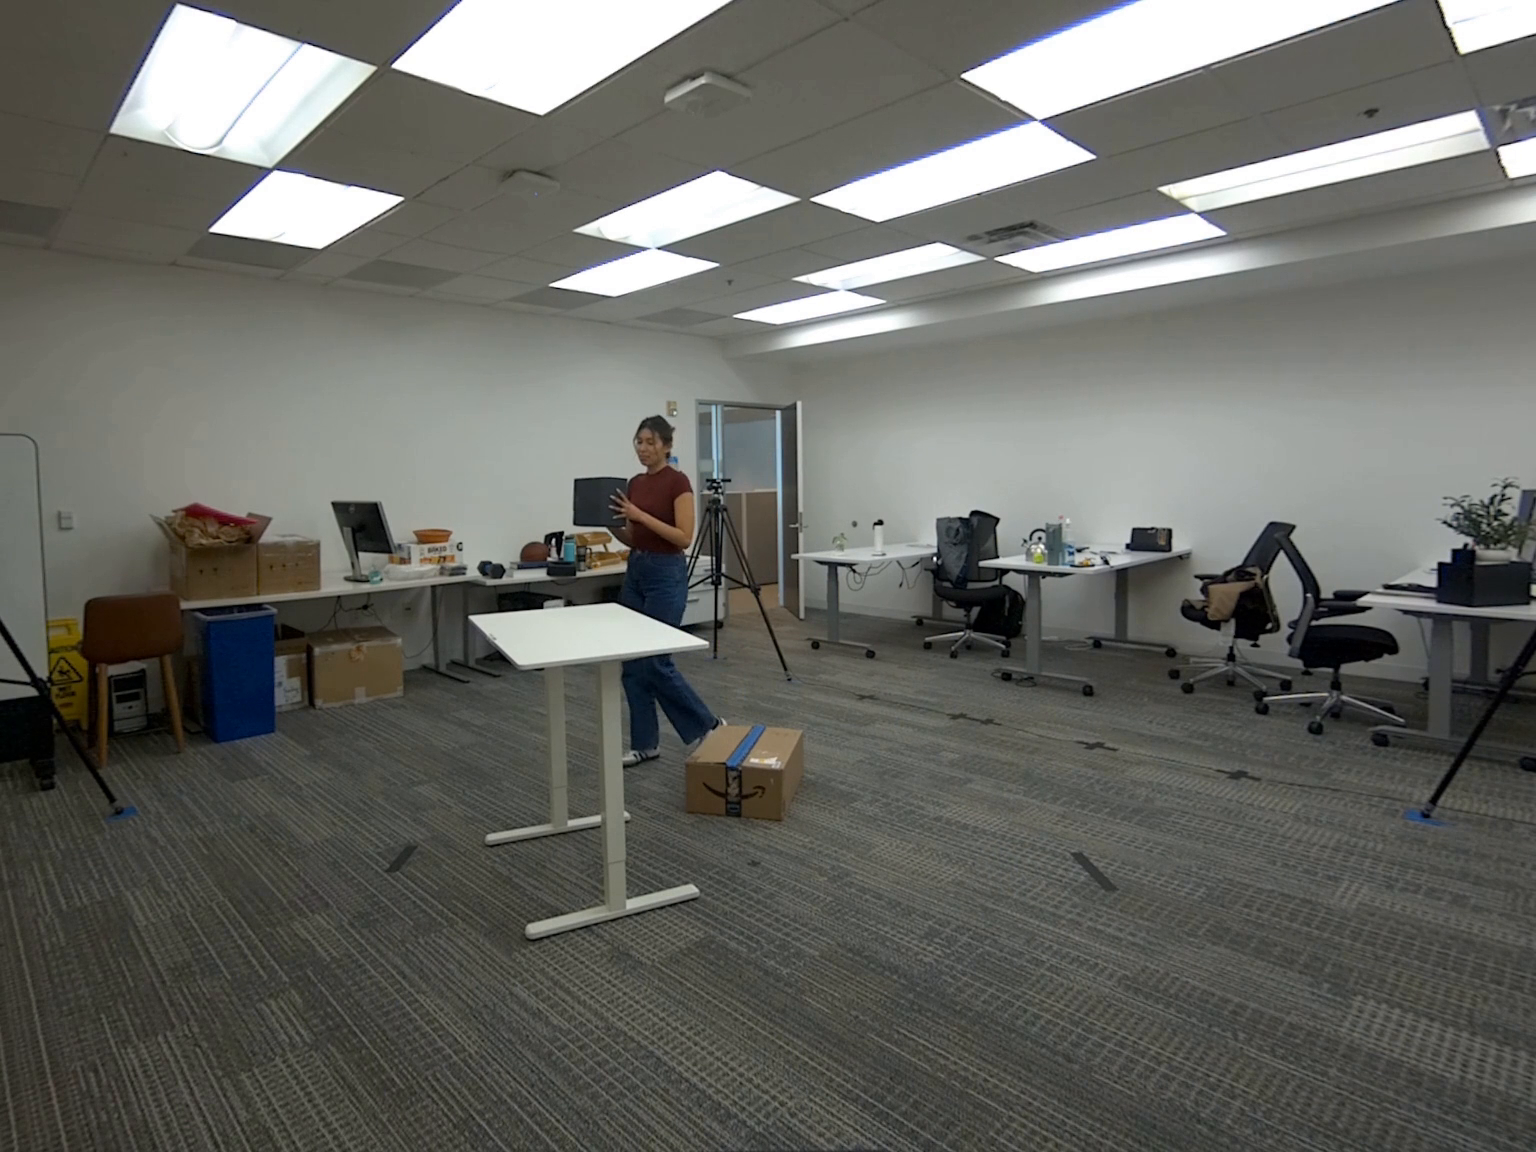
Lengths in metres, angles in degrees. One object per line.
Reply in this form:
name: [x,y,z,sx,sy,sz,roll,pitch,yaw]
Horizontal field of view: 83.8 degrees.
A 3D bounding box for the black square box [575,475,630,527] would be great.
black square box: [-0.782,-0.349,4.029,0.223,0.228,0.151,1,1,44]
